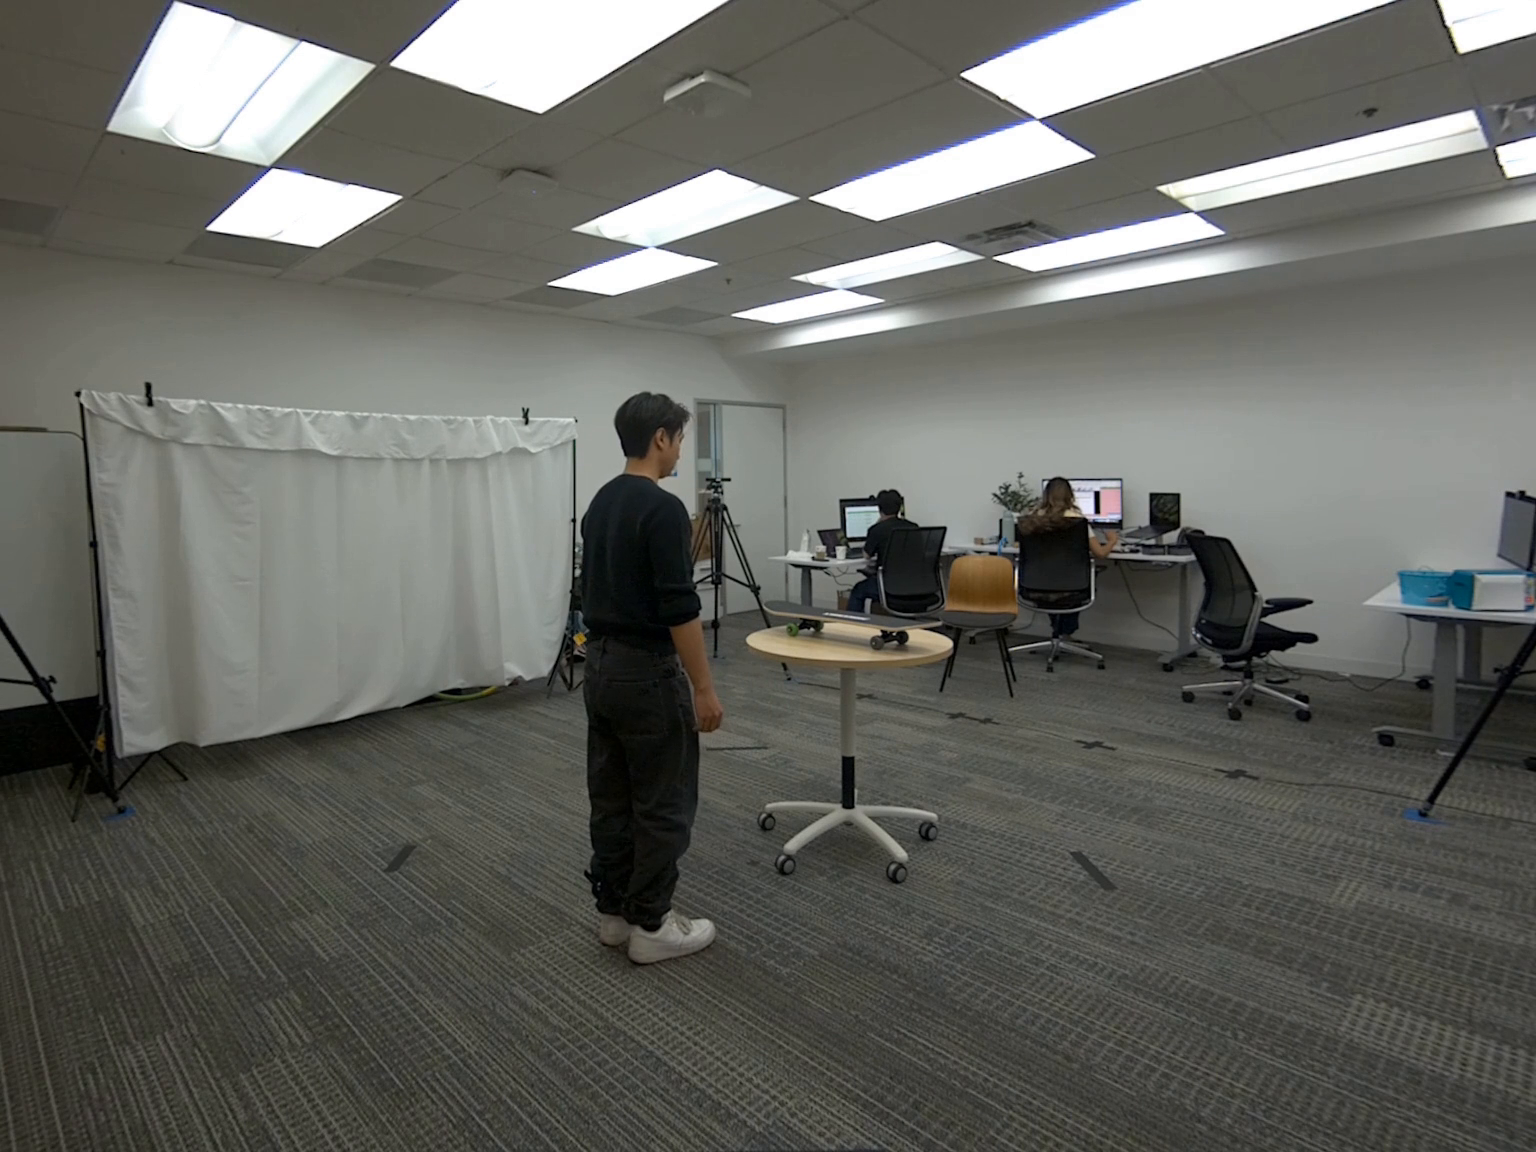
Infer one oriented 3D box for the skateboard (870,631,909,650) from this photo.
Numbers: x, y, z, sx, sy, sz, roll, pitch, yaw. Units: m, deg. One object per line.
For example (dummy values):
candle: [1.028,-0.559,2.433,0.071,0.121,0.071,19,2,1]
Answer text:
skateboard: [0.296,0.192,3.194,0.810,0.110,0.188,6,8,44]
